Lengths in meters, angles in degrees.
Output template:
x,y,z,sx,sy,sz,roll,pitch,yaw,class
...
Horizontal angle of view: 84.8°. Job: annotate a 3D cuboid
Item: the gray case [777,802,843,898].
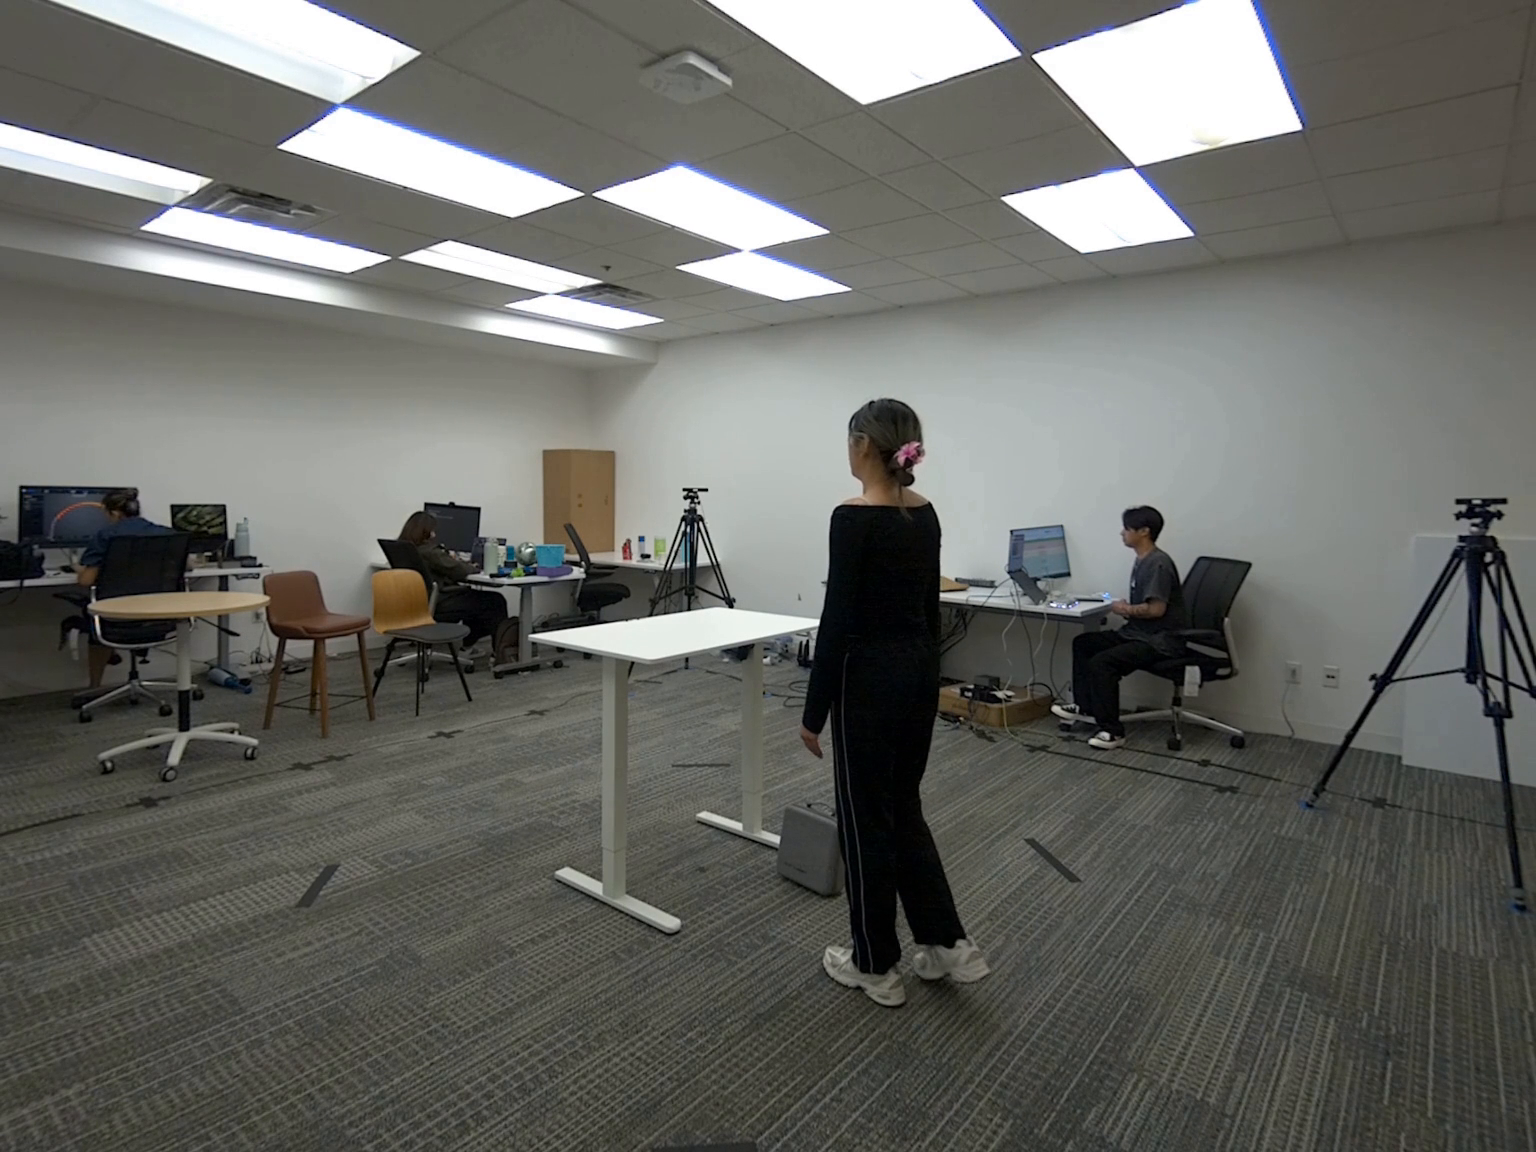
x,y,z,sx,sy,sz,roll,pitch,yaw,class
0.153,0.952,3.012,0.100,0.261,0.265,12,-4,-41,gray case
